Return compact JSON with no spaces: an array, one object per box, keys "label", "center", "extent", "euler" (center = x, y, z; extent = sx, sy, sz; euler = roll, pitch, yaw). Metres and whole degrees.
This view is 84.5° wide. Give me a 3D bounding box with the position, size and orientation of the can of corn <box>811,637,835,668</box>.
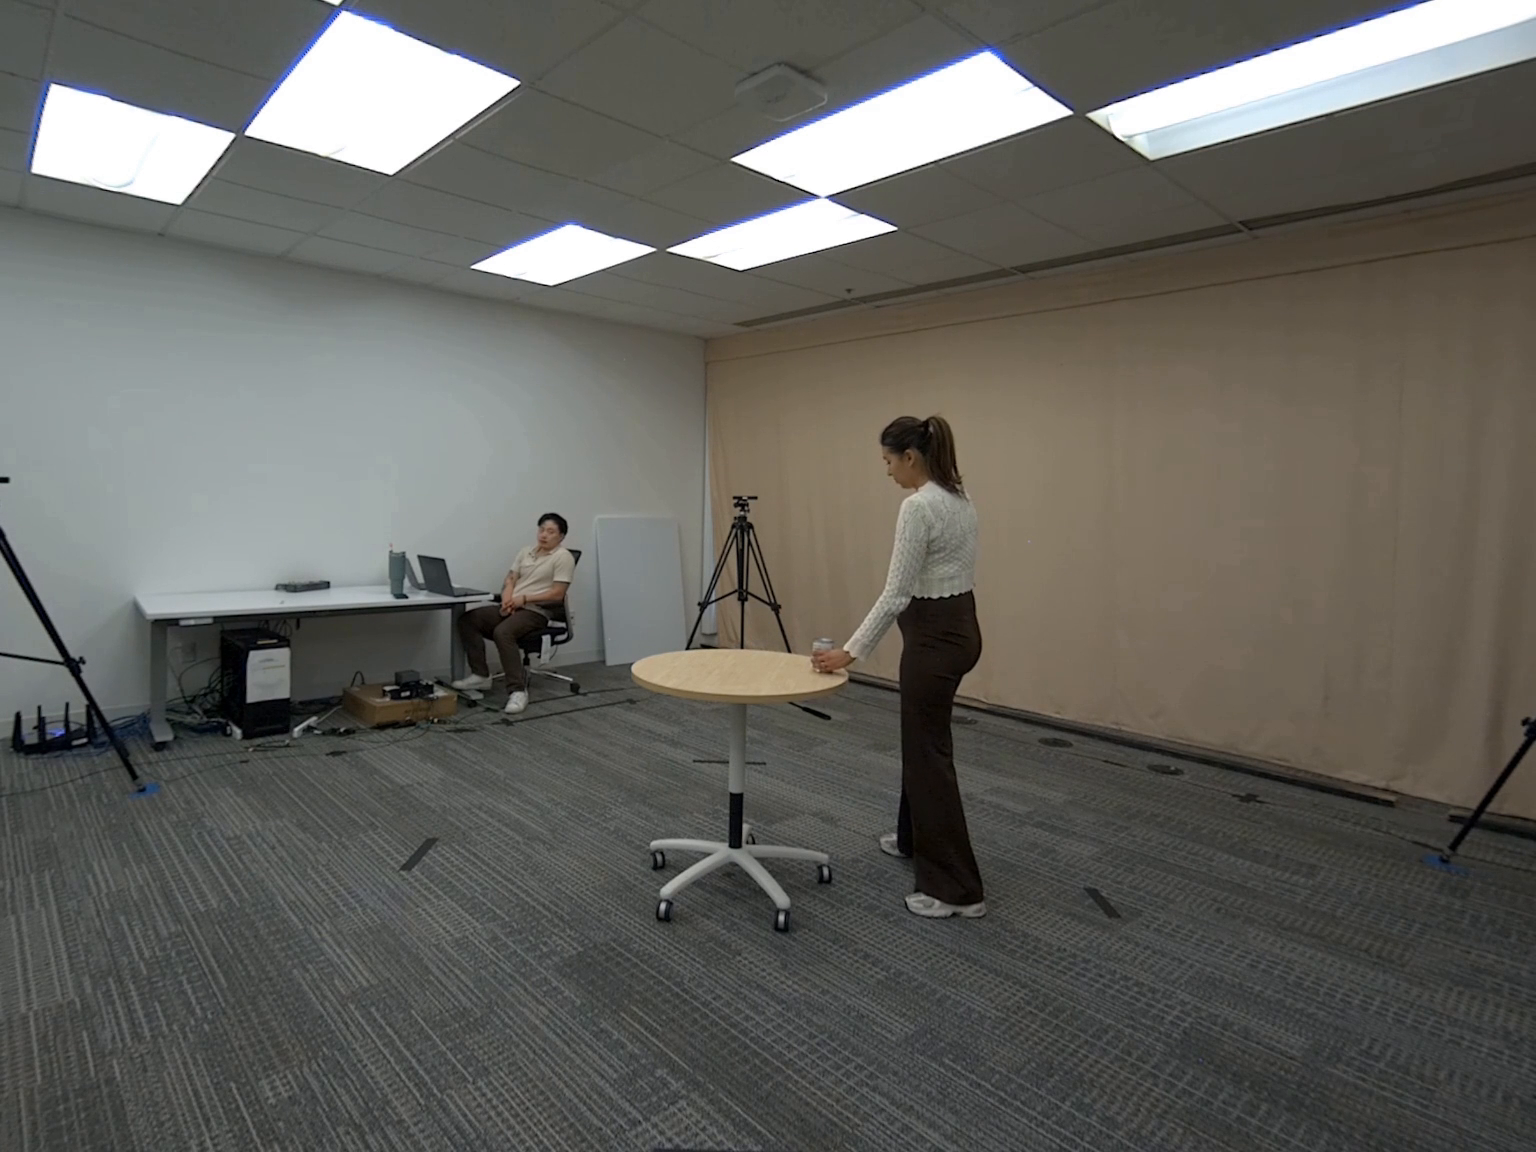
[{"label":"can of corn","center":[0.203,0.292,2.980],"extent":[0.074,0.110,0.075],"euler":[5,13,-3]}]
